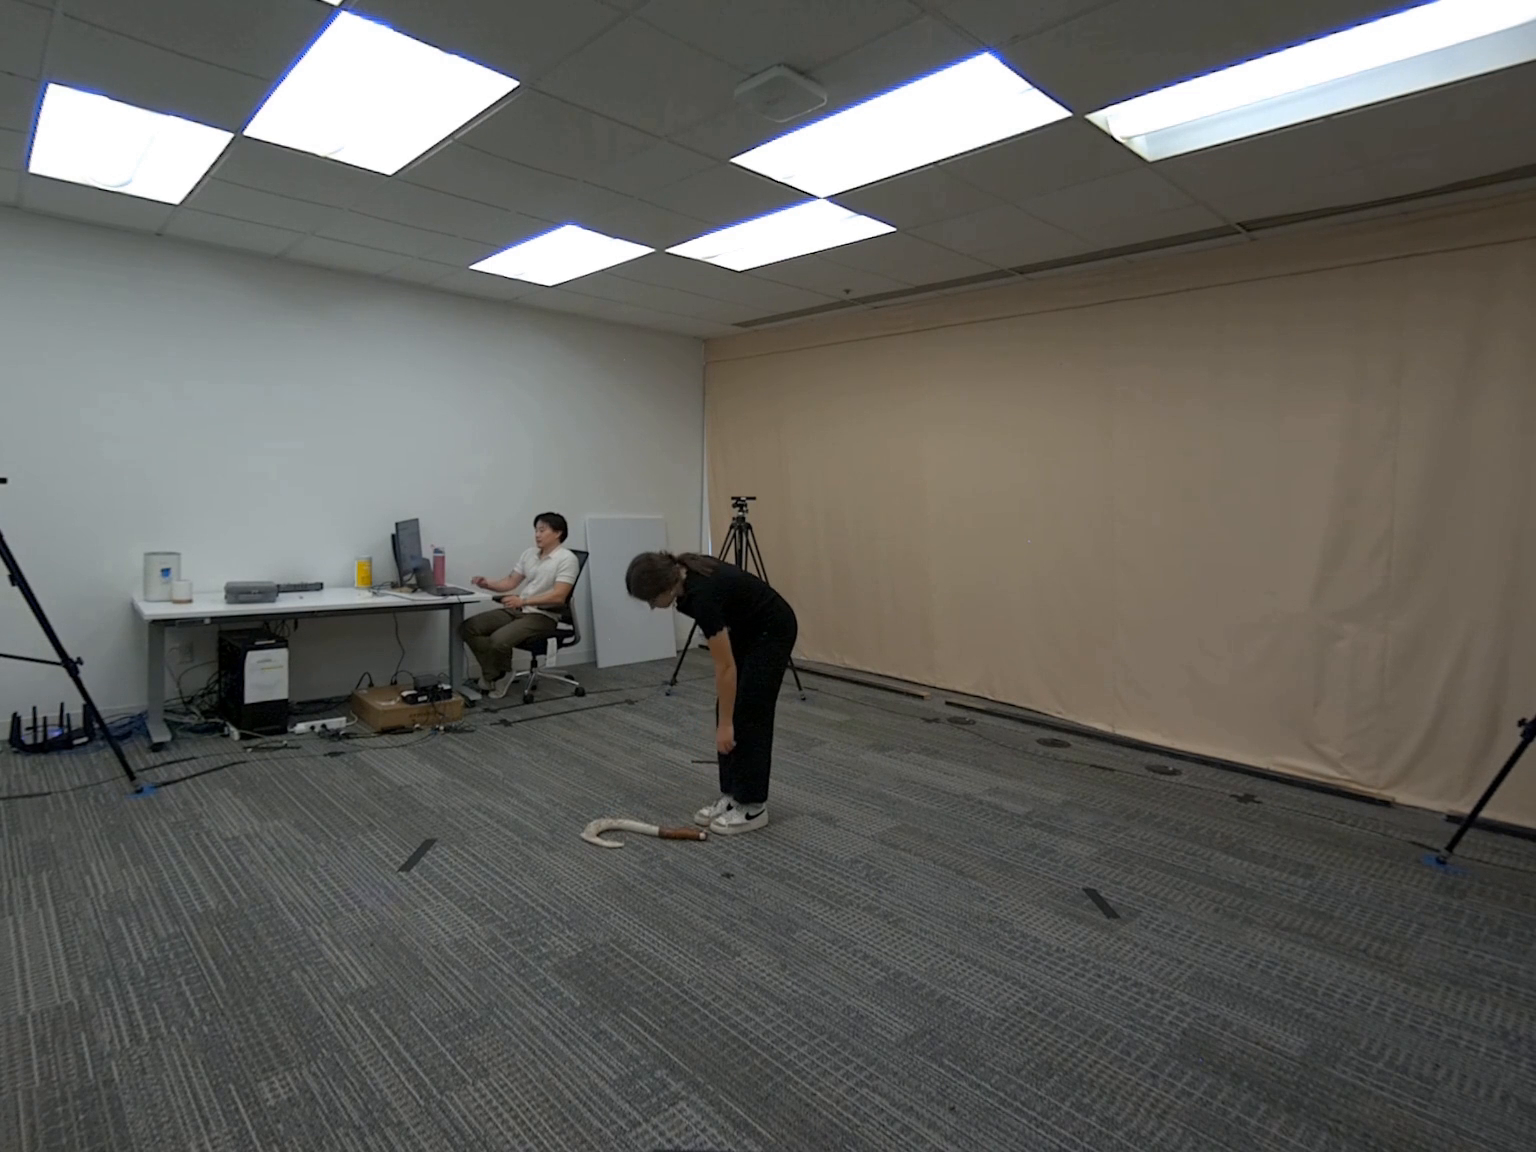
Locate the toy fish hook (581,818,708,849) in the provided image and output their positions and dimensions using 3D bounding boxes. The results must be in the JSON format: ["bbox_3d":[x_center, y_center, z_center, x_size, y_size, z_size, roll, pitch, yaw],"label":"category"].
[{"bbox_3d":[-0.507,1.053,3.406,0.510,0.048,0.225,1,13,9],"label":"toy fish hook"}]
